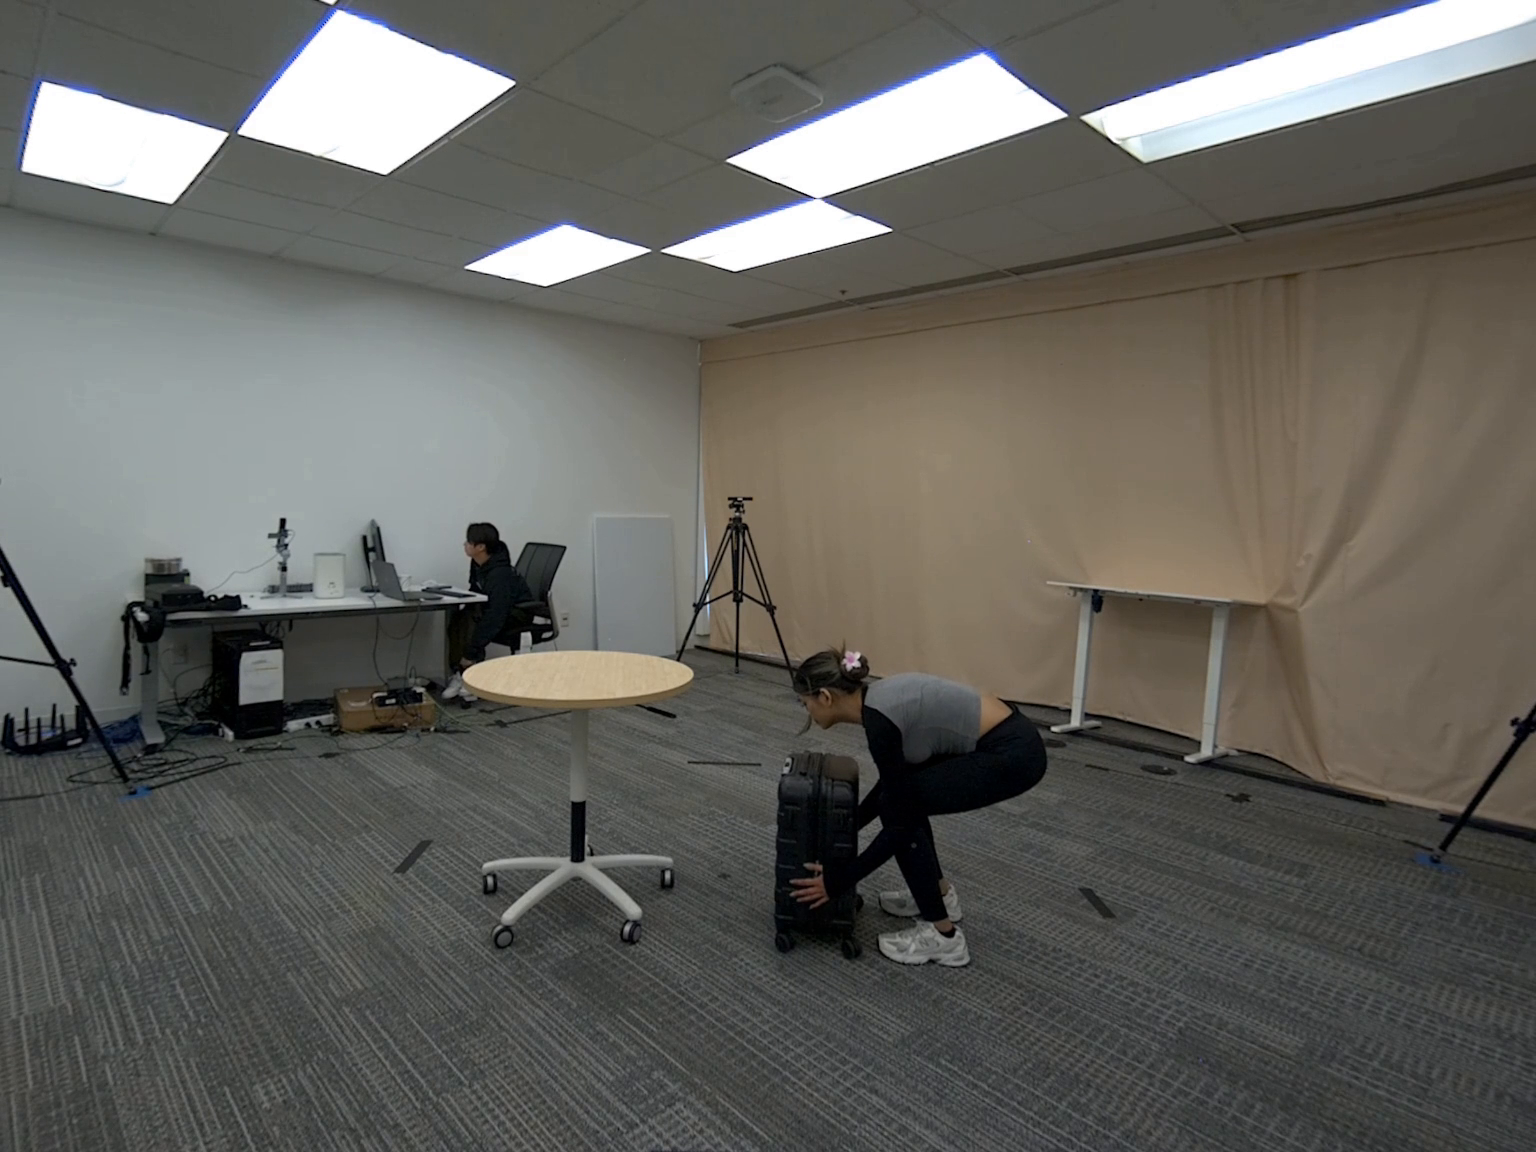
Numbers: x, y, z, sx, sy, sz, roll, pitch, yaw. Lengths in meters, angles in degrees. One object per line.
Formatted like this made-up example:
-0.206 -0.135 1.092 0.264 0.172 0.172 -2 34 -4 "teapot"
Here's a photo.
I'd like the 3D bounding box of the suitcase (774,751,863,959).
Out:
0.167 0.872 2.731 0.250 0.548 0.373 3 3 7 "suitcase"
